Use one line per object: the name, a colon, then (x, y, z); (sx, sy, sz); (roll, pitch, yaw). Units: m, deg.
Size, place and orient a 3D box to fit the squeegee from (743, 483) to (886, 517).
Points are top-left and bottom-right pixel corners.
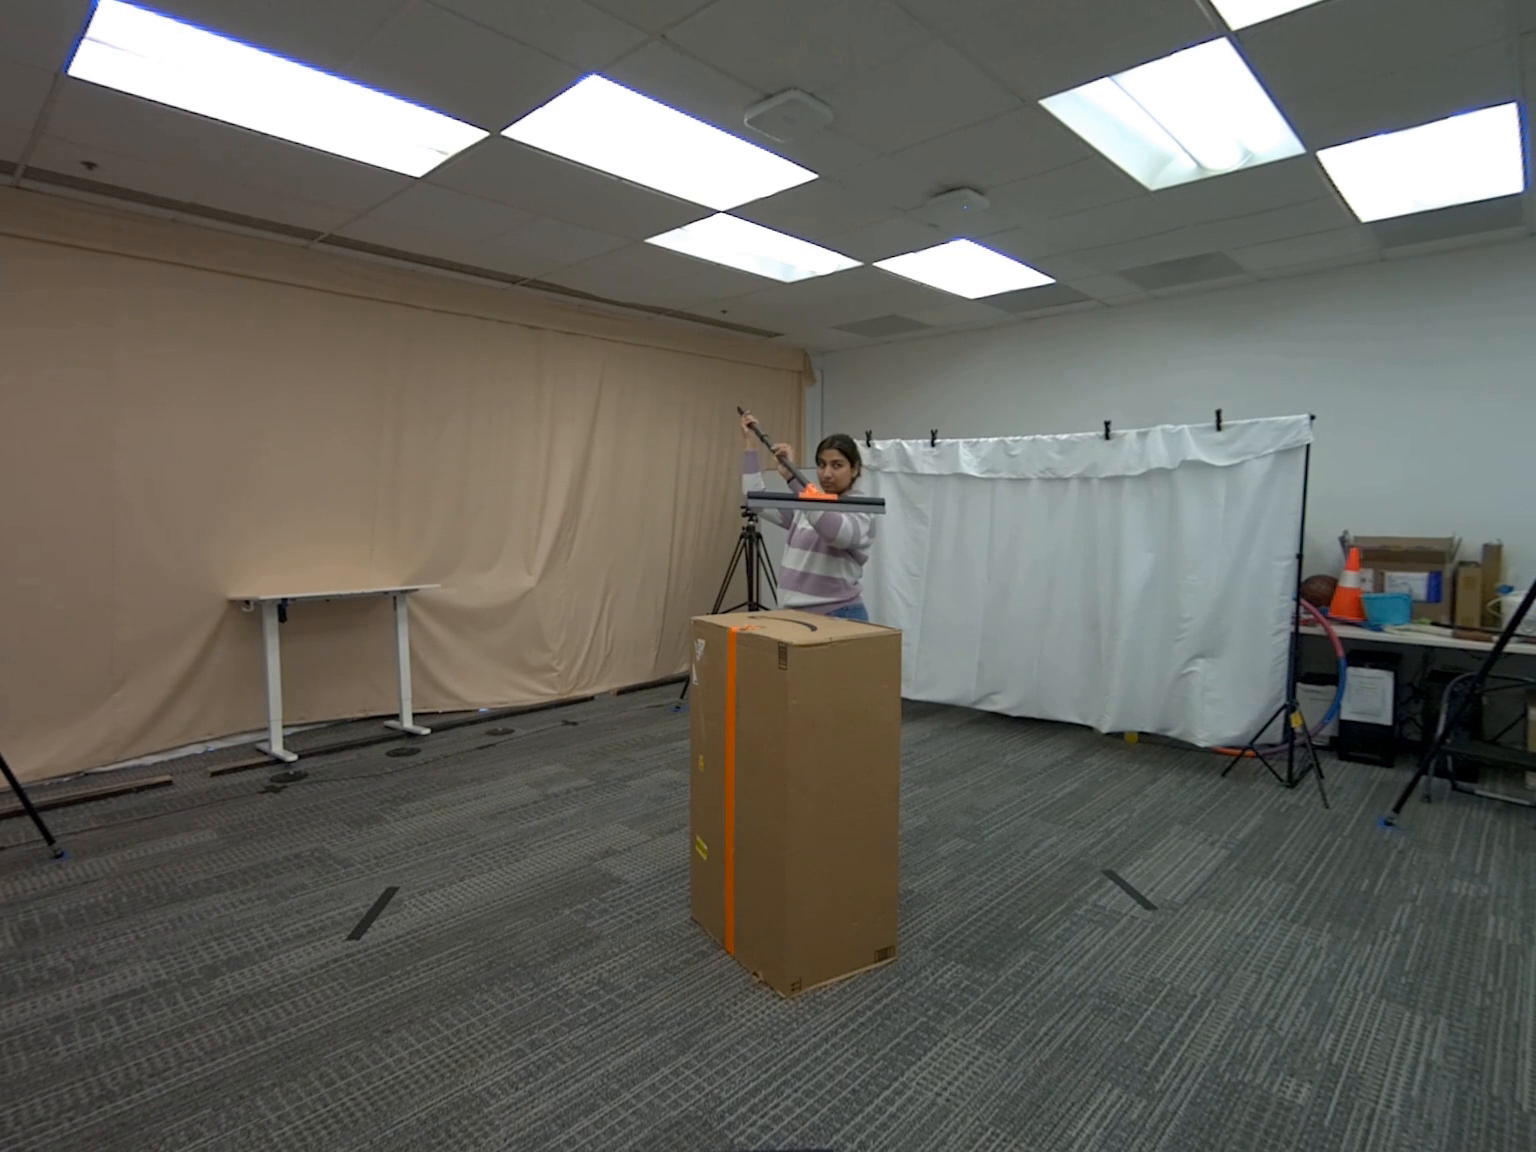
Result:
squeegee: (0.029, -0.506, 3.263); (0.433, 0.052, 1.570); (0, 22, -11)
